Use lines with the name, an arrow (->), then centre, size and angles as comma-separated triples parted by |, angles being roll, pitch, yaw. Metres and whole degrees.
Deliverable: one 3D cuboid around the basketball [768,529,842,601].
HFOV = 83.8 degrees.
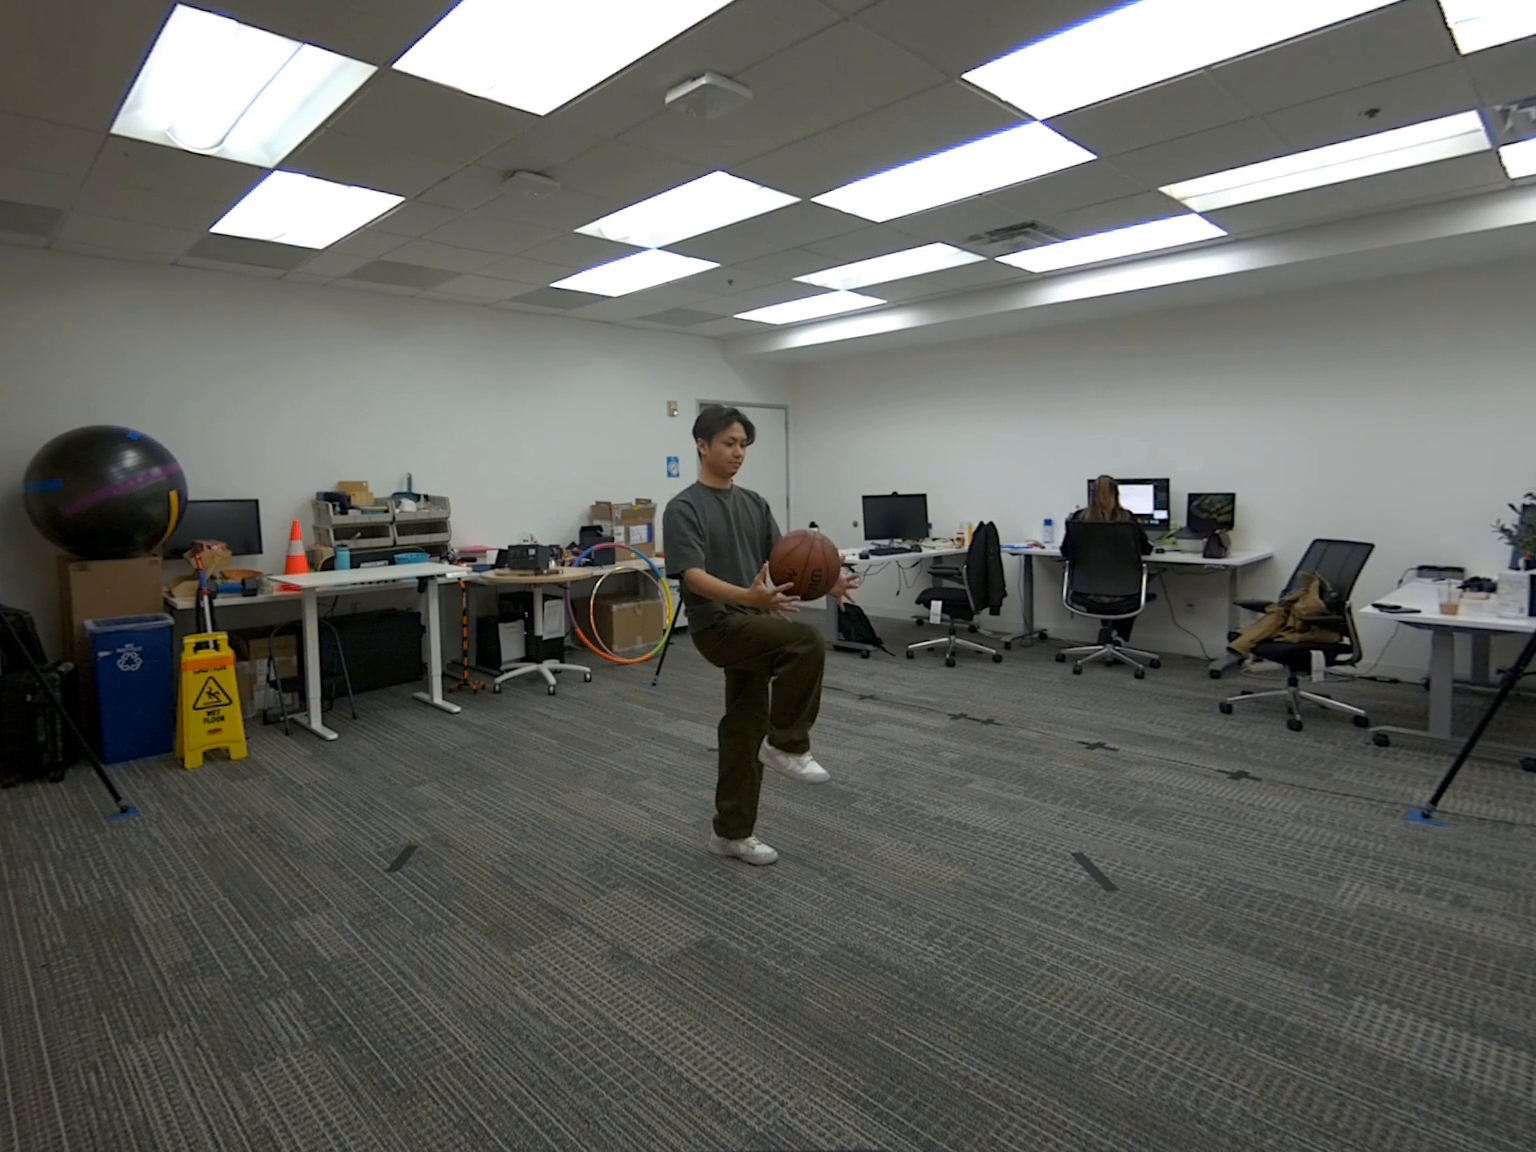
basketball -> 0.128, -0.036, 2.814 | 0.236, 0.235, 0.237 | -1, 5, -2
